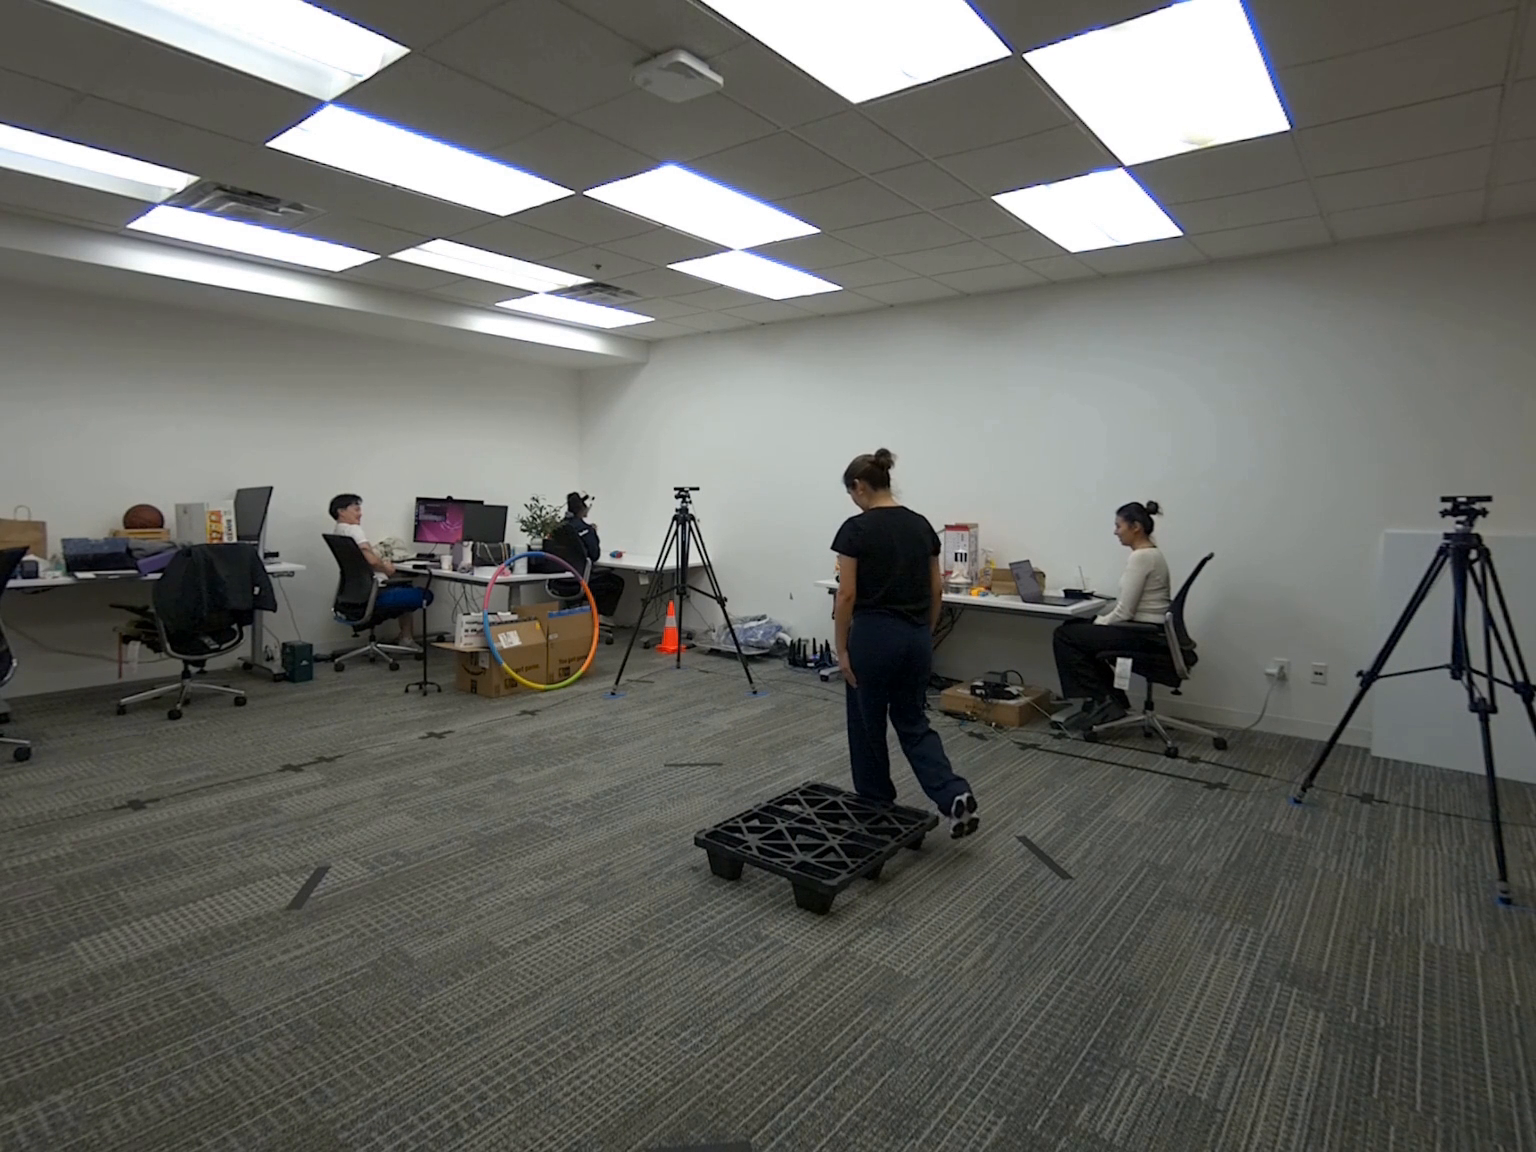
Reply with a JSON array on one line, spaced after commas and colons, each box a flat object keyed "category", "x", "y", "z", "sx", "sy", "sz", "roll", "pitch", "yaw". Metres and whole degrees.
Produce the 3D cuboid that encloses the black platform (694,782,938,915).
[{"category": "black platform", "x": 0.207, "y": 0.998, "z": 3.206, "sx": 0.625, "sy": 0.143, "sz": 0.782, "roll": 5, "pitch": 6, "yaw": 38}]
